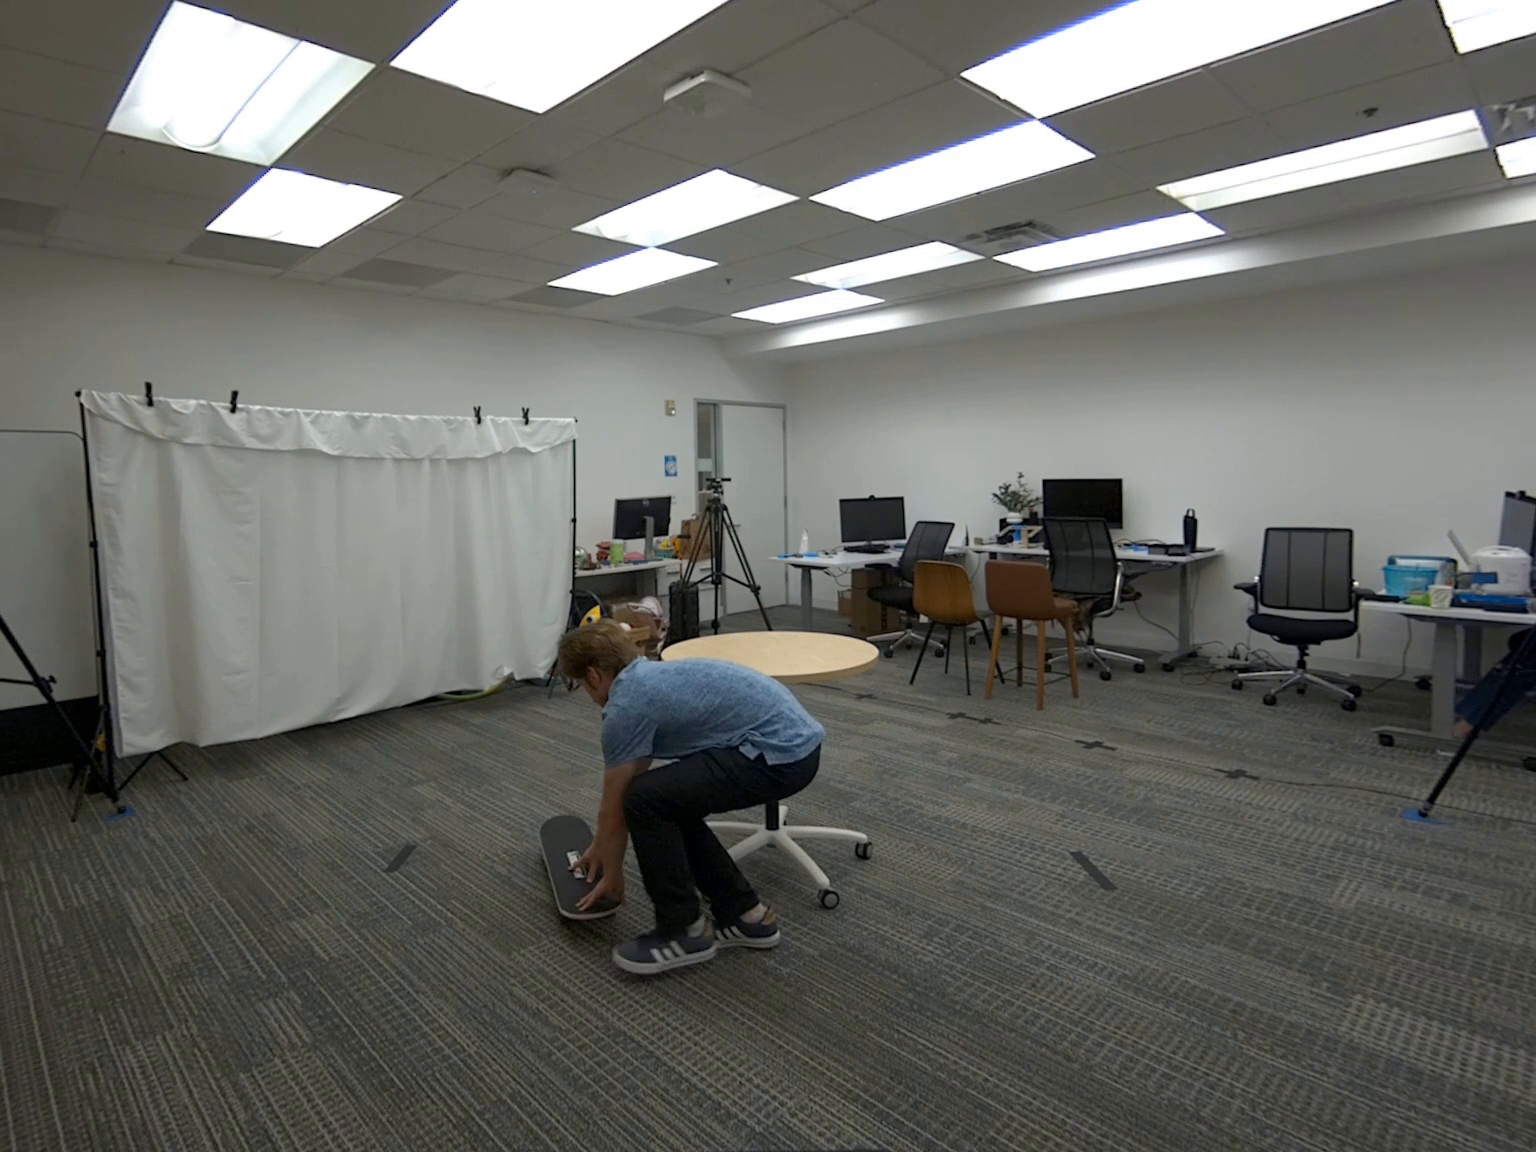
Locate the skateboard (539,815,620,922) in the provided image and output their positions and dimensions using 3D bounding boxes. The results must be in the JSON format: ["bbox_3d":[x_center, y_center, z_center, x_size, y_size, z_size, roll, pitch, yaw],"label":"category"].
[{"bbox_3d":[-0.648,1.020,2.921,0.190,0.110,0.803,-4,8,-20],"label":"skateboard"}]
